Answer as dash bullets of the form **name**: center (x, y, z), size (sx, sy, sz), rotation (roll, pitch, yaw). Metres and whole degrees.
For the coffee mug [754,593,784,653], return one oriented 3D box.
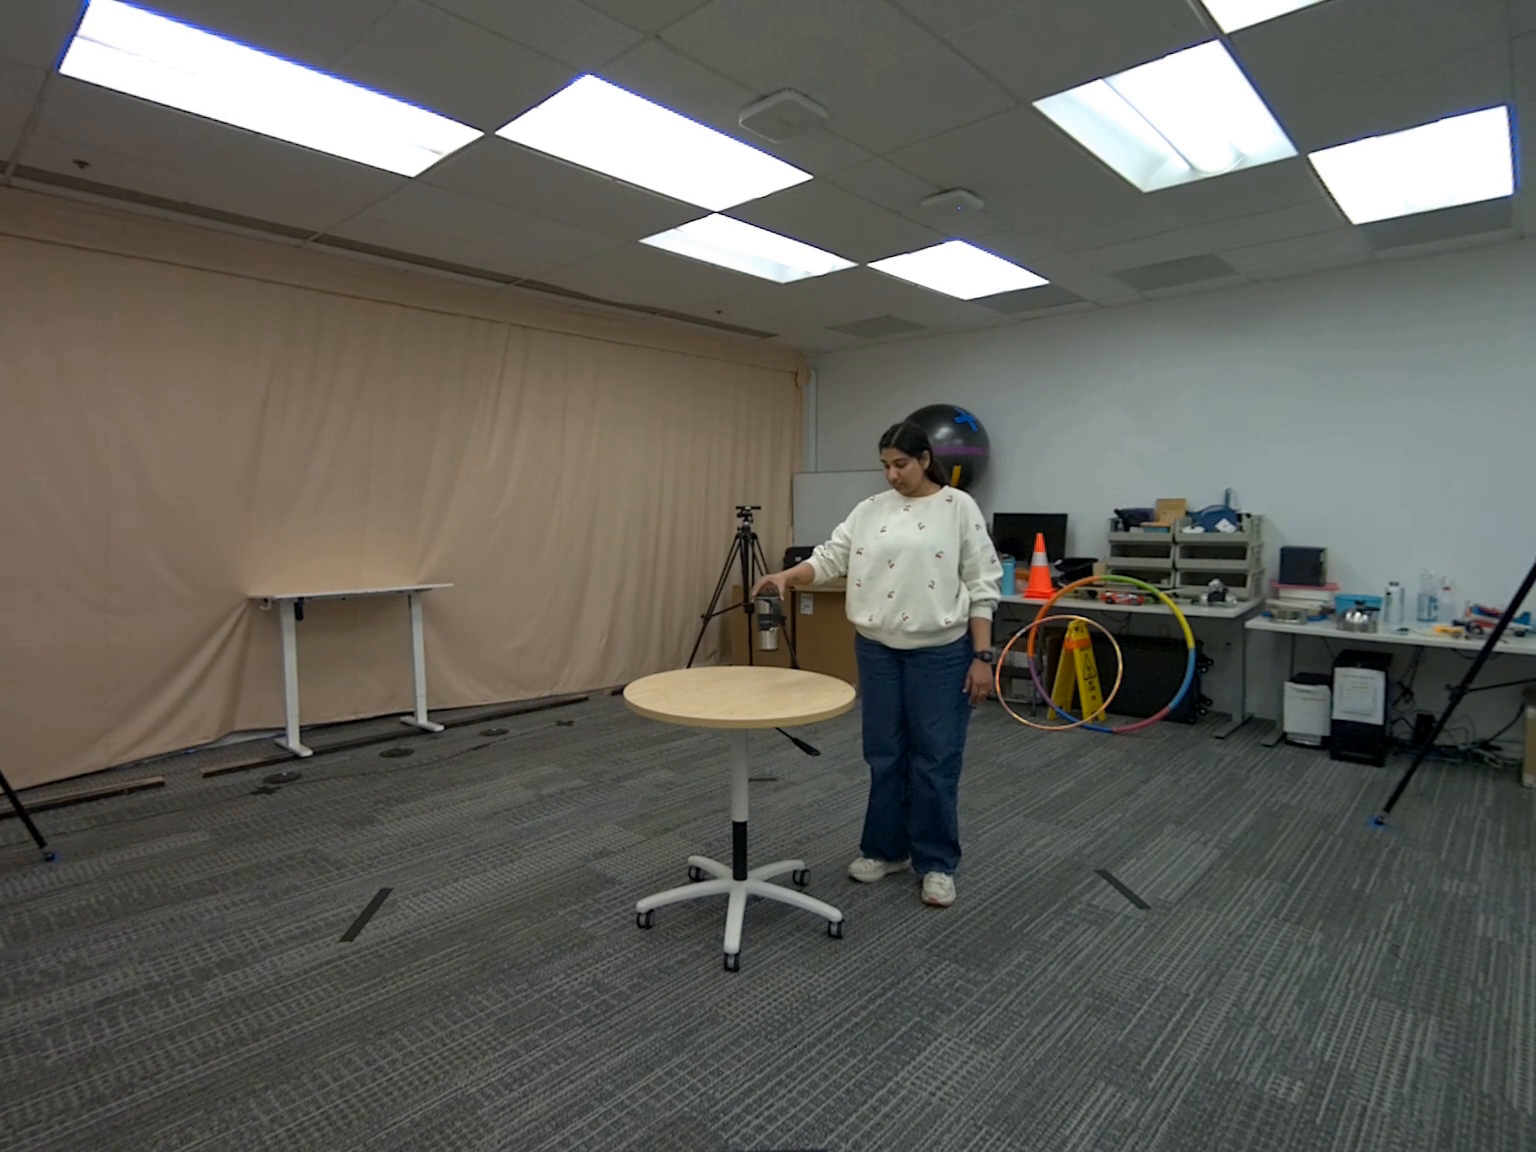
- **coffee mug**: center (-0.002, 0.163, 2.868), size (0.090, 0.203, 0.118), rotation (0, 0, 31)
